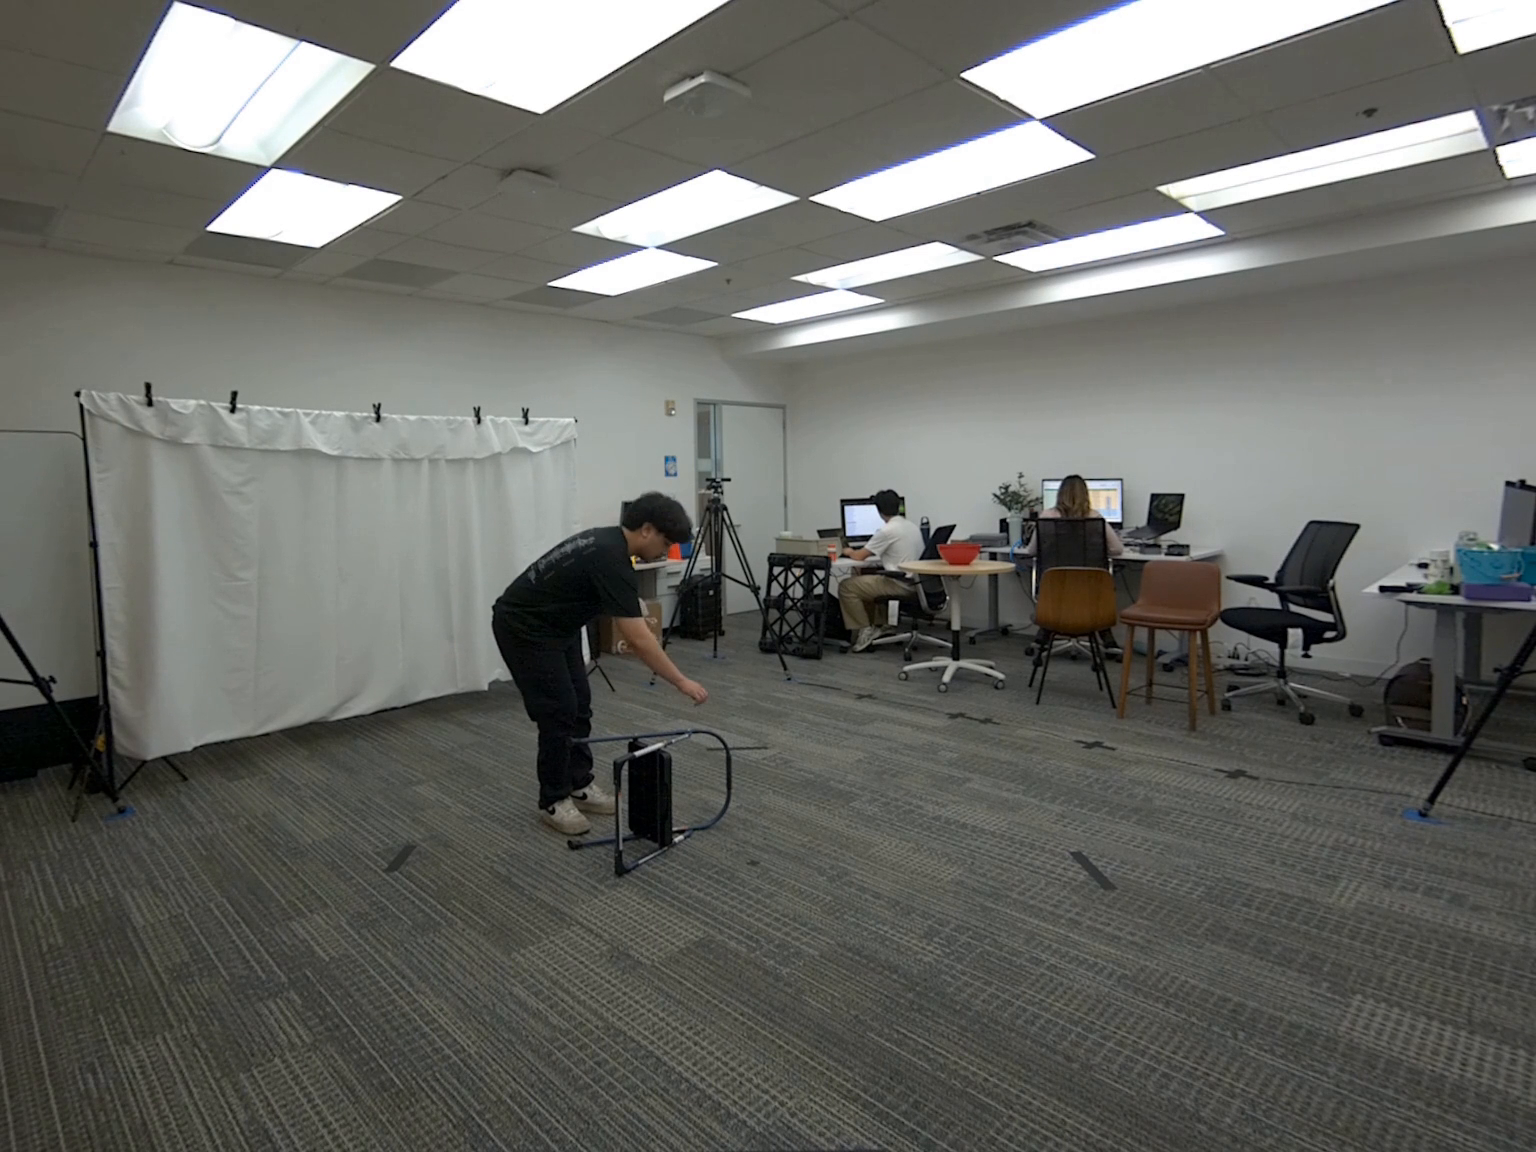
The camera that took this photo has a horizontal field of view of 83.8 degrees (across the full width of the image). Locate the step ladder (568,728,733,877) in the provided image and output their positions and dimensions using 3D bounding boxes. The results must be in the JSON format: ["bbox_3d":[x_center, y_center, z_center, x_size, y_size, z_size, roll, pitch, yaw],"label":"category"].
[{"bbox_3d":[-0.423,0.813,3.305,0.590,0.429,0.360,-5,7,-41],"label":"step ladder"}]
